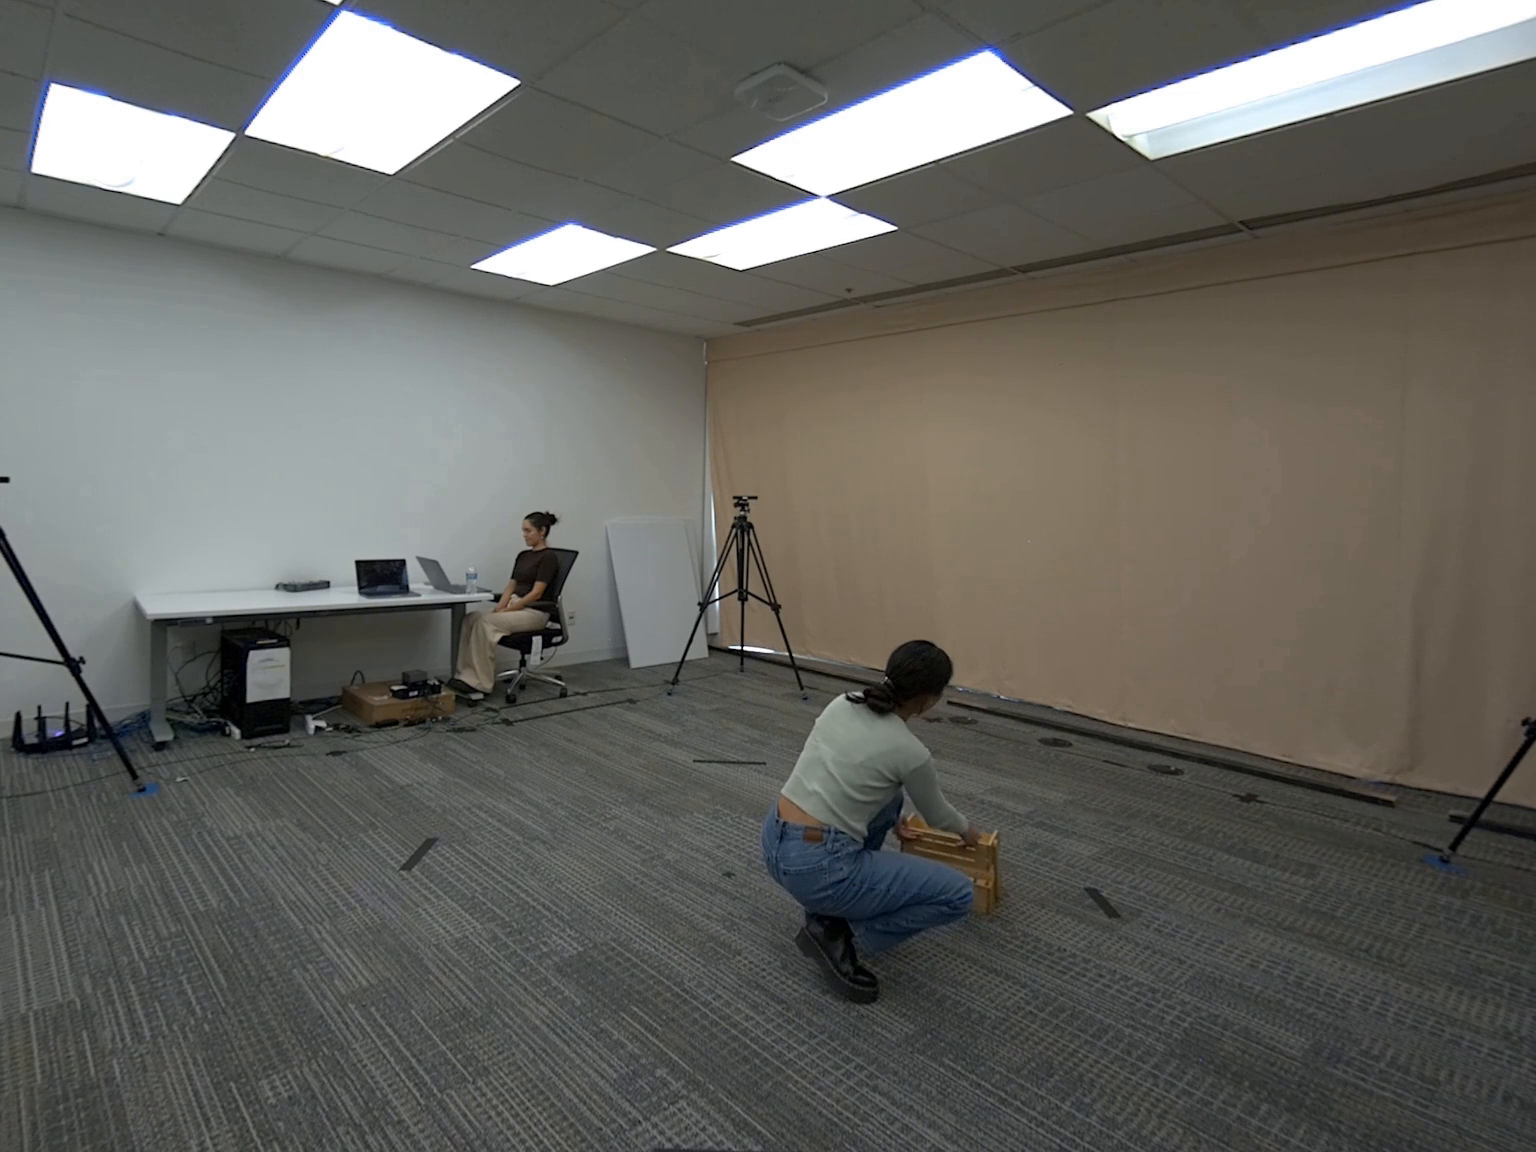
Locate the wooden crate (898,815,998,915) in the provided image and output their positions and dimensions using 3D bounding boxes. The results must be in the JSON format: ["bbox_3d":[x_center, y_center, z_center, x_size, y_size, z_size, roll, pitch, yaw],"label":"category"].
[{"bbox_3d":[0.652,0.999,3.007,0.331,0.272,0.297,4,5,26],"label":"wooden crate"}]
